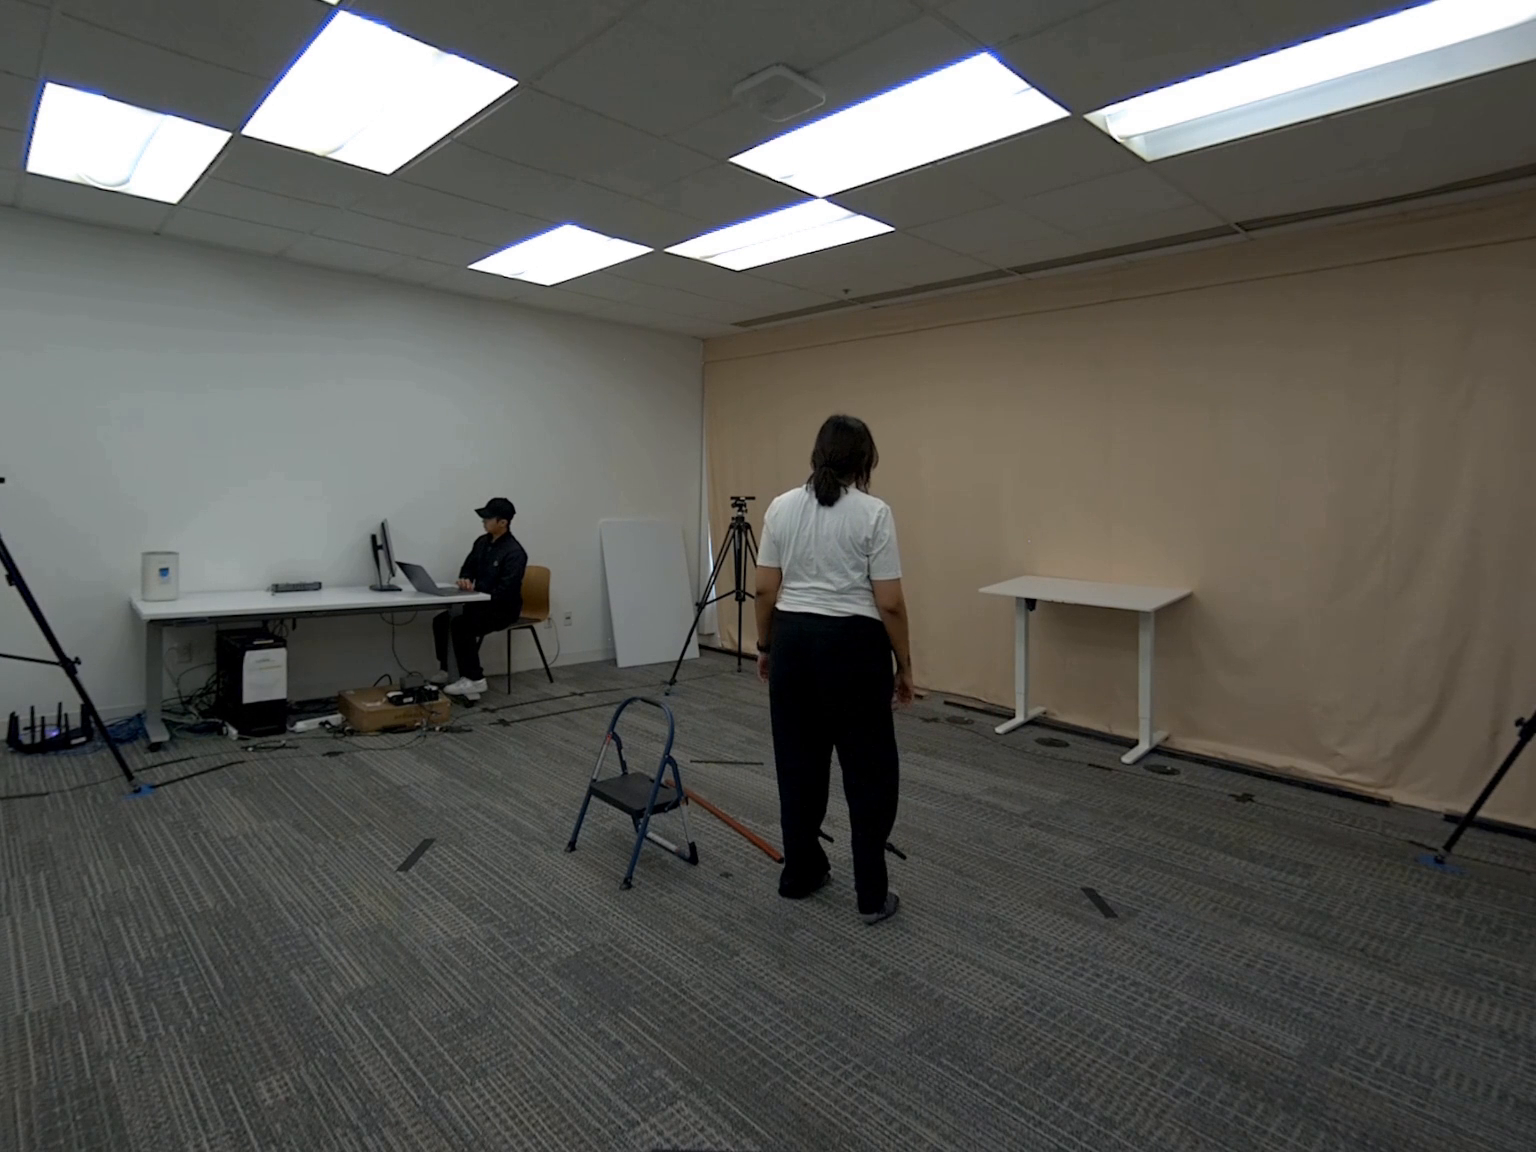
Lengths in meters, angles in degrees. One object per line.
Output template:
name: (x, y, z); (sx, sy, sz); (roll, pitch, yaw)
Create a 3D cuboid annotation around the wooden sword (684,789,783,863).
wooden sword: (-0.220, 1.023, 3.646); (0.024, 0.050, 1.049); (-25, 17, -27)
